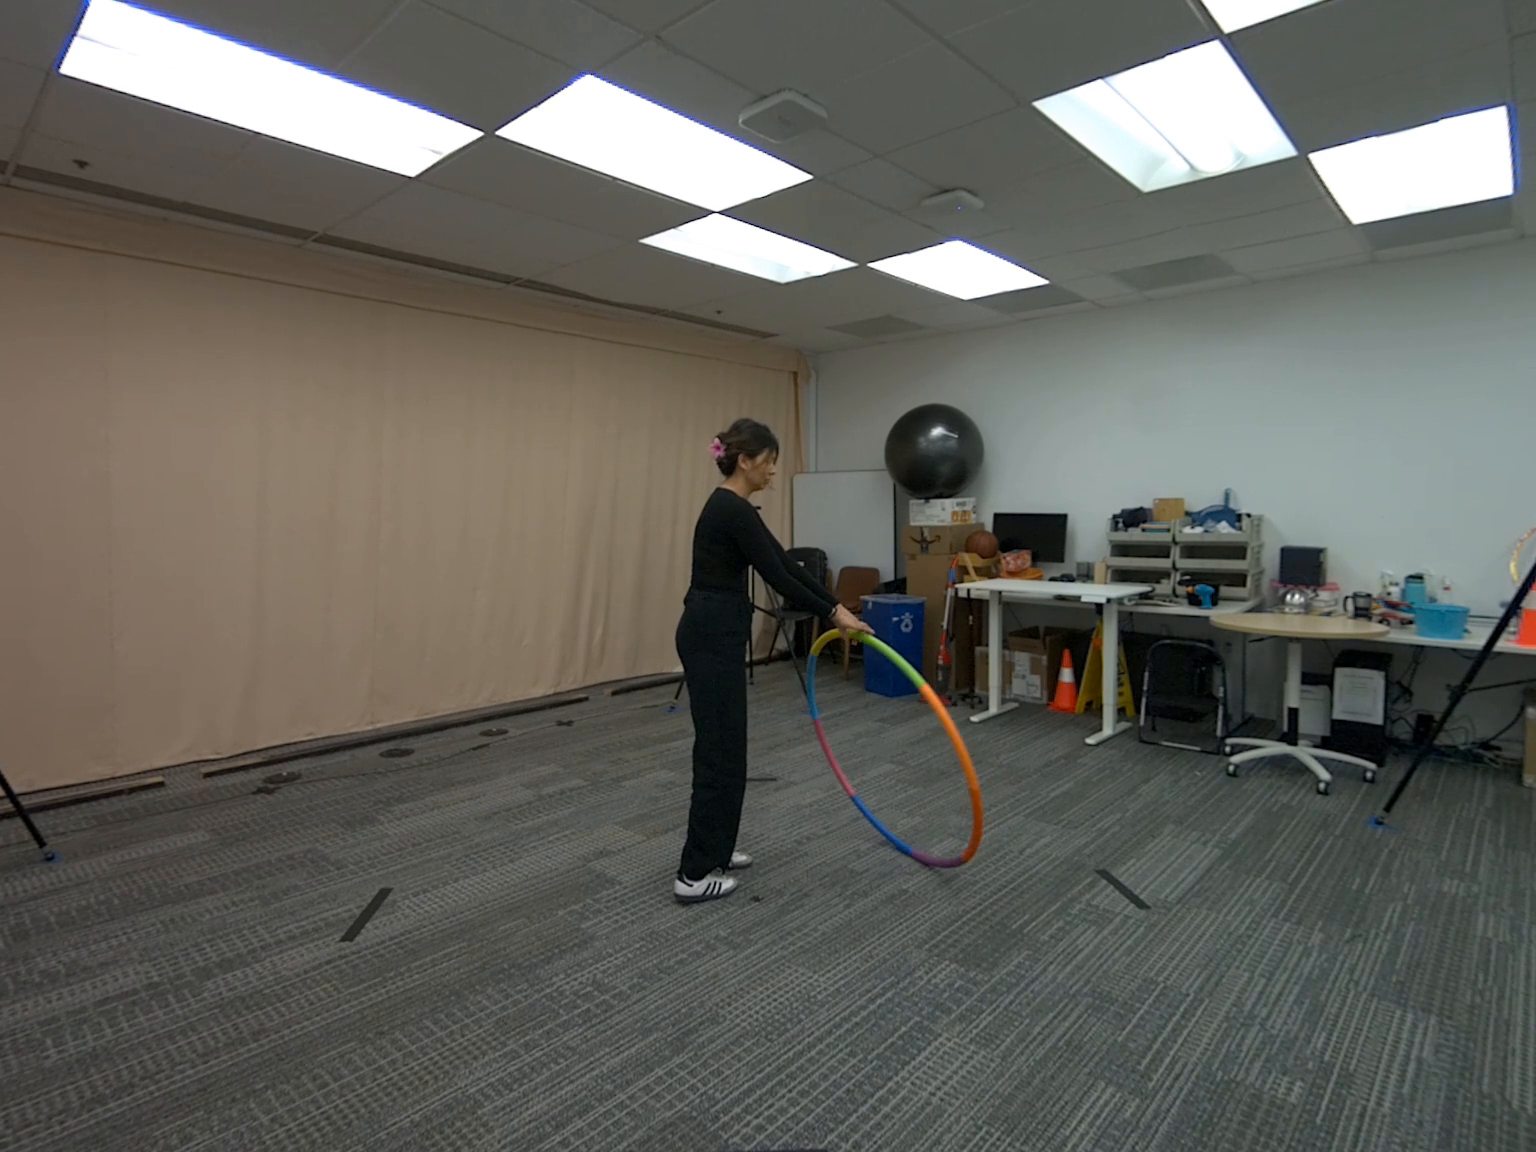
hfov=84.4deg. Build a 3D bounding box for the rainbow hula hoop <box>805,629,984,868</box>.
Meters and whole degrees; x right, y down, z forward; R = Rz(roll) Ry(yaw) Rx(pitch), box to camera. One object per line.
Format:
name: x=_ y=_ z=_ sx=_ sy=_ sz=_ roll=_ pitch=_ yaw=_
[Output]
rainbow hula hoop: x=0.456 y=0.655 z=3.255 sx=0.035 sy=0.968 sz=1.006 roll=-22 pitch=13 yaw=-26
